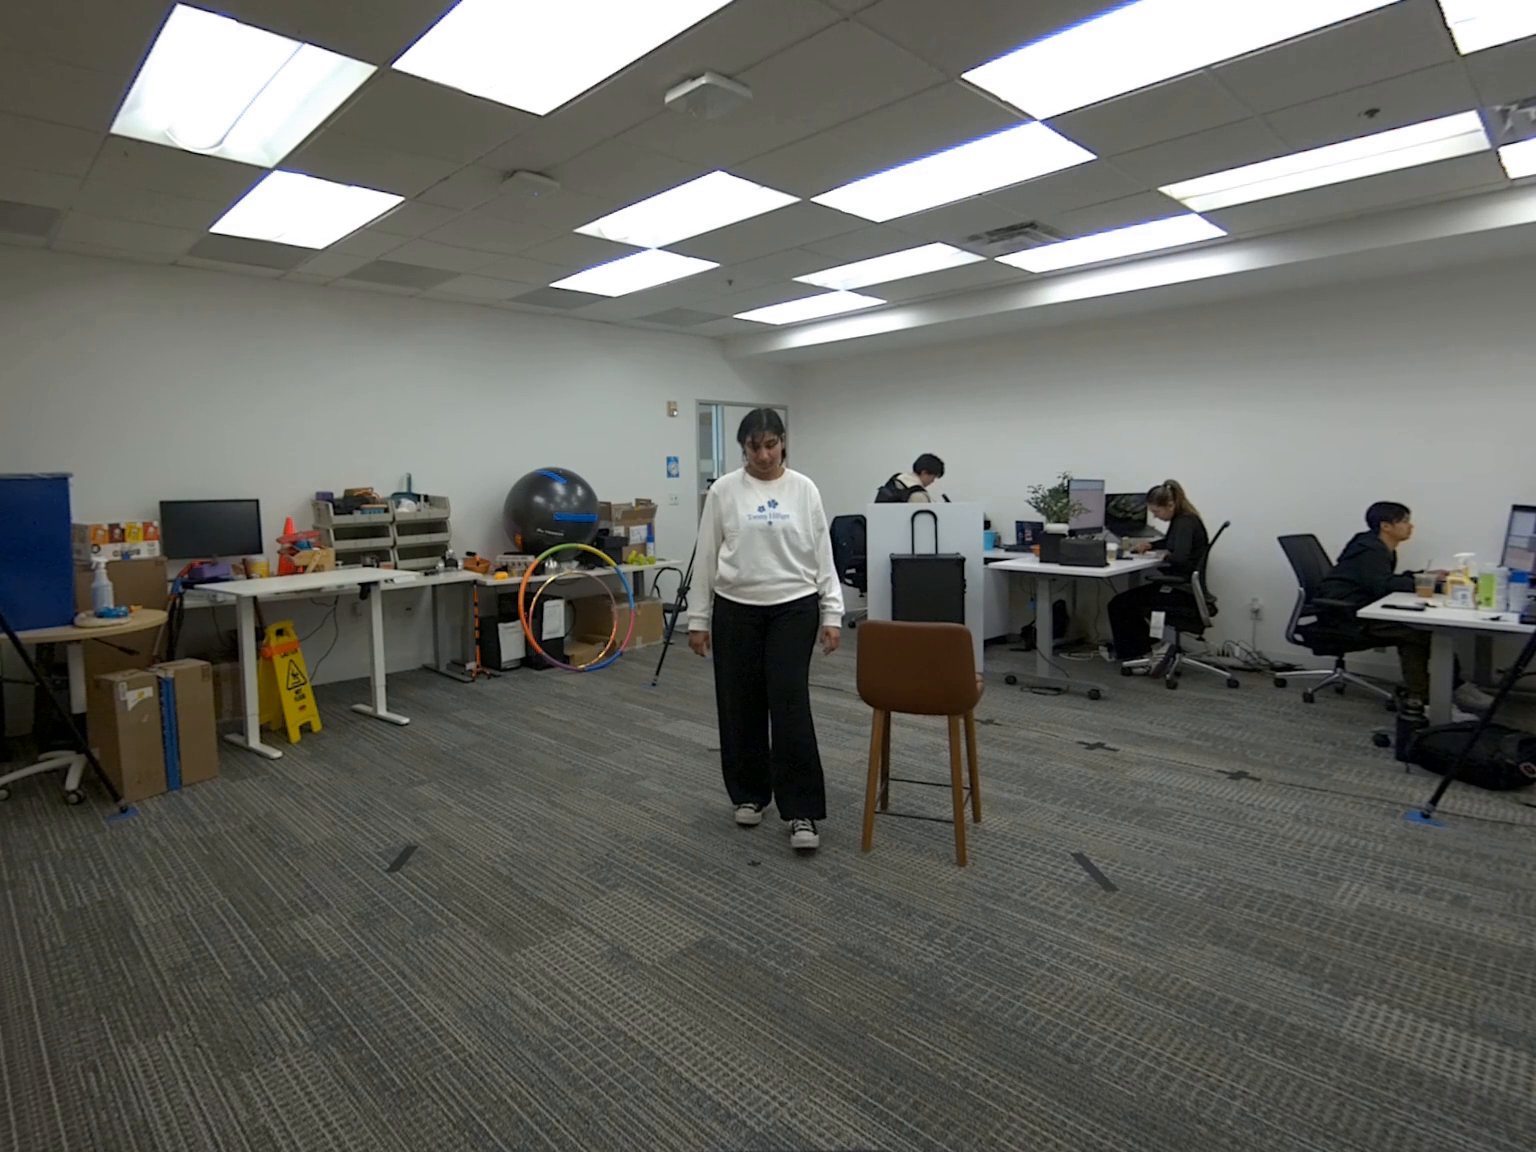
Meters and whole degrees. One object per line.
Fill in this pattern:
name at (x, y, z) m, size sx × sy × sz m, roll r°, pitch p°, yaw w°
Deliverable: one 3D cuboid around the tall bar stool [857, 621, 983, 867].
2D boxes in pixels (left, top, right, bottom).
tall bar stool at (0.593, 0.577, 3.303) m, size 0.466 × 0.886 × 0.460 m, roll 1°, pitch 6°, yaw 22°
